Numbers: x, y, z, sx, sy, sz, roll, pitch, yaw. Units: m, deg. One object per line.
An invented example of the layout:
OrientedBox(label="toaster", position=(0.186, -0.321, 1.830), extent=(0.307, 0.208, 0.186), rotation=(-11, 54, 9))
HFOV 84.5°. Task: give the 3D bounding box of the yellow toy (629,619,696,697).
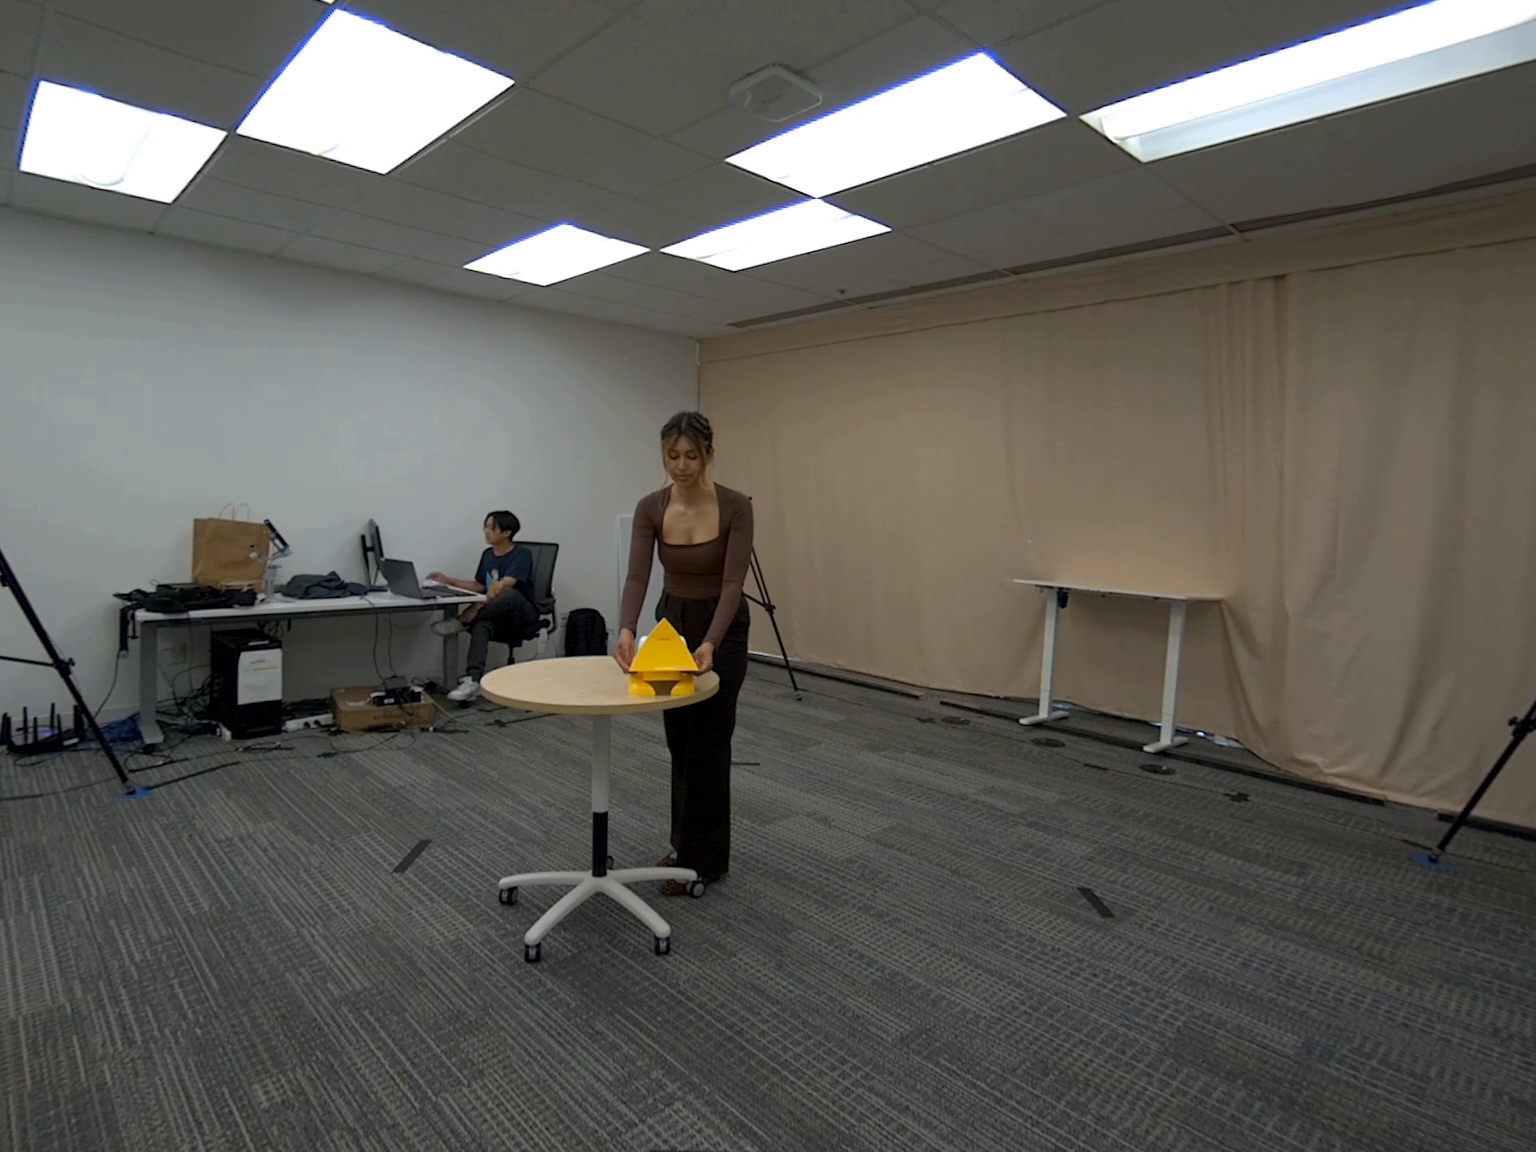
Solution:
OrientedBox(label="yellow toy", position=(-0.340, 0.236, 2.563), extent=(0.203, 0.230, 0.195), rotation=(1, 5, -11))
